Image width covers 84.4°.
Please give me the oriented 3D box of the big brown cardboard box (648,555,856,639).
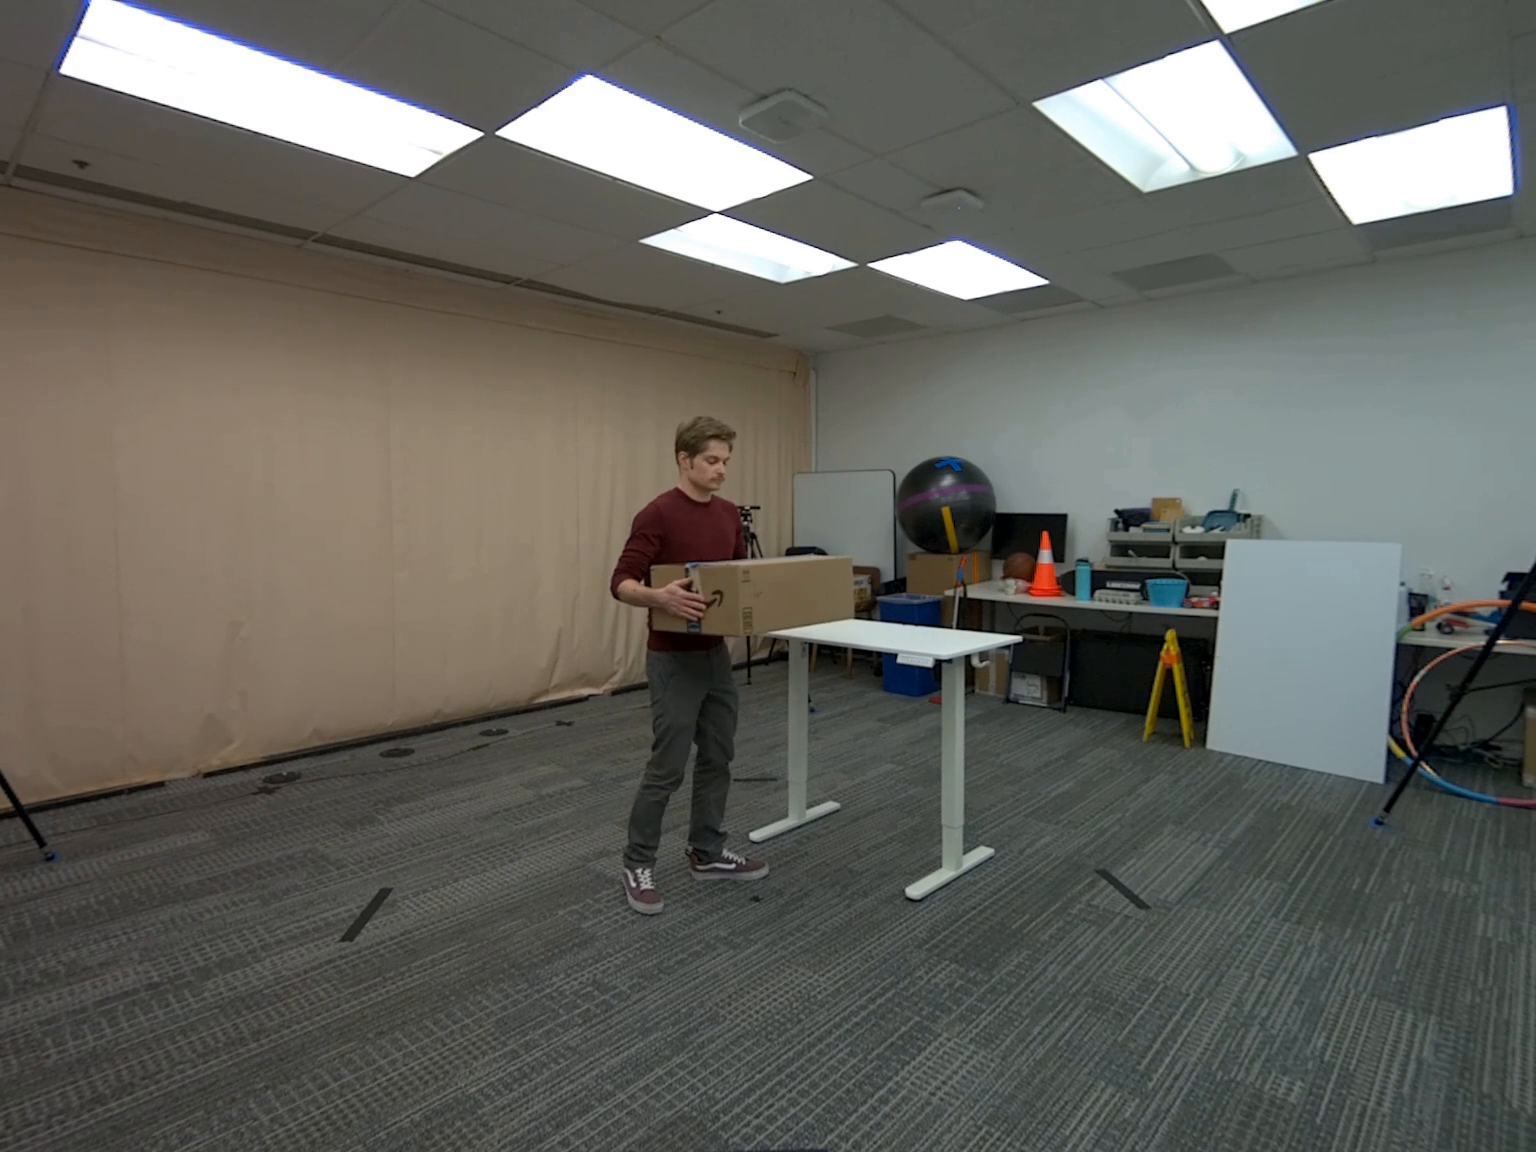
[{"bbox_3d":[-0.043,0.056,2.847,0.431,0.233,0.571,0,4,44],"label":"big brown cardboard box"}]
